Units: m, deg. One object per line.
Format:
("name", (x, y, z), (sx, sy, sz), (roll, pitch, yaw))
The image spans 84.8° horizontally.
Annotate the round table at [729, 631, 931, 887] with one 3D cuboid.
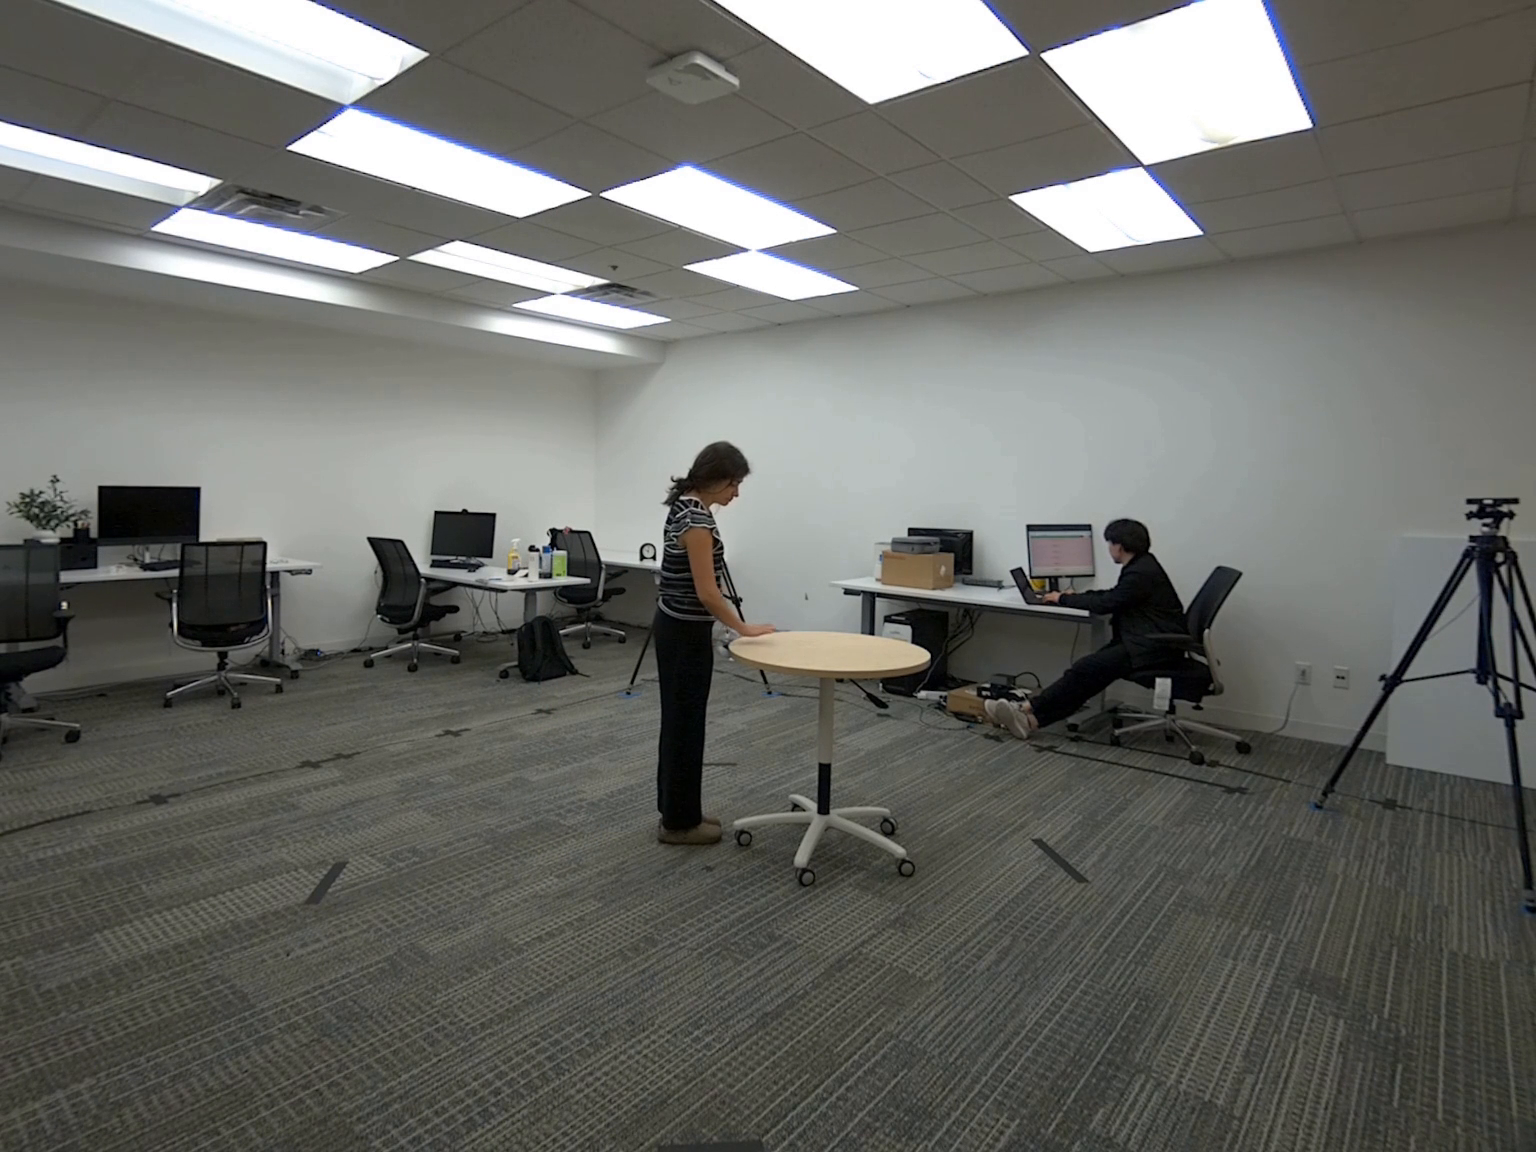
("round table", (0.219, 0.670, 3.289), (0.763, 0.791, 0.768), (1, 5, -2))
